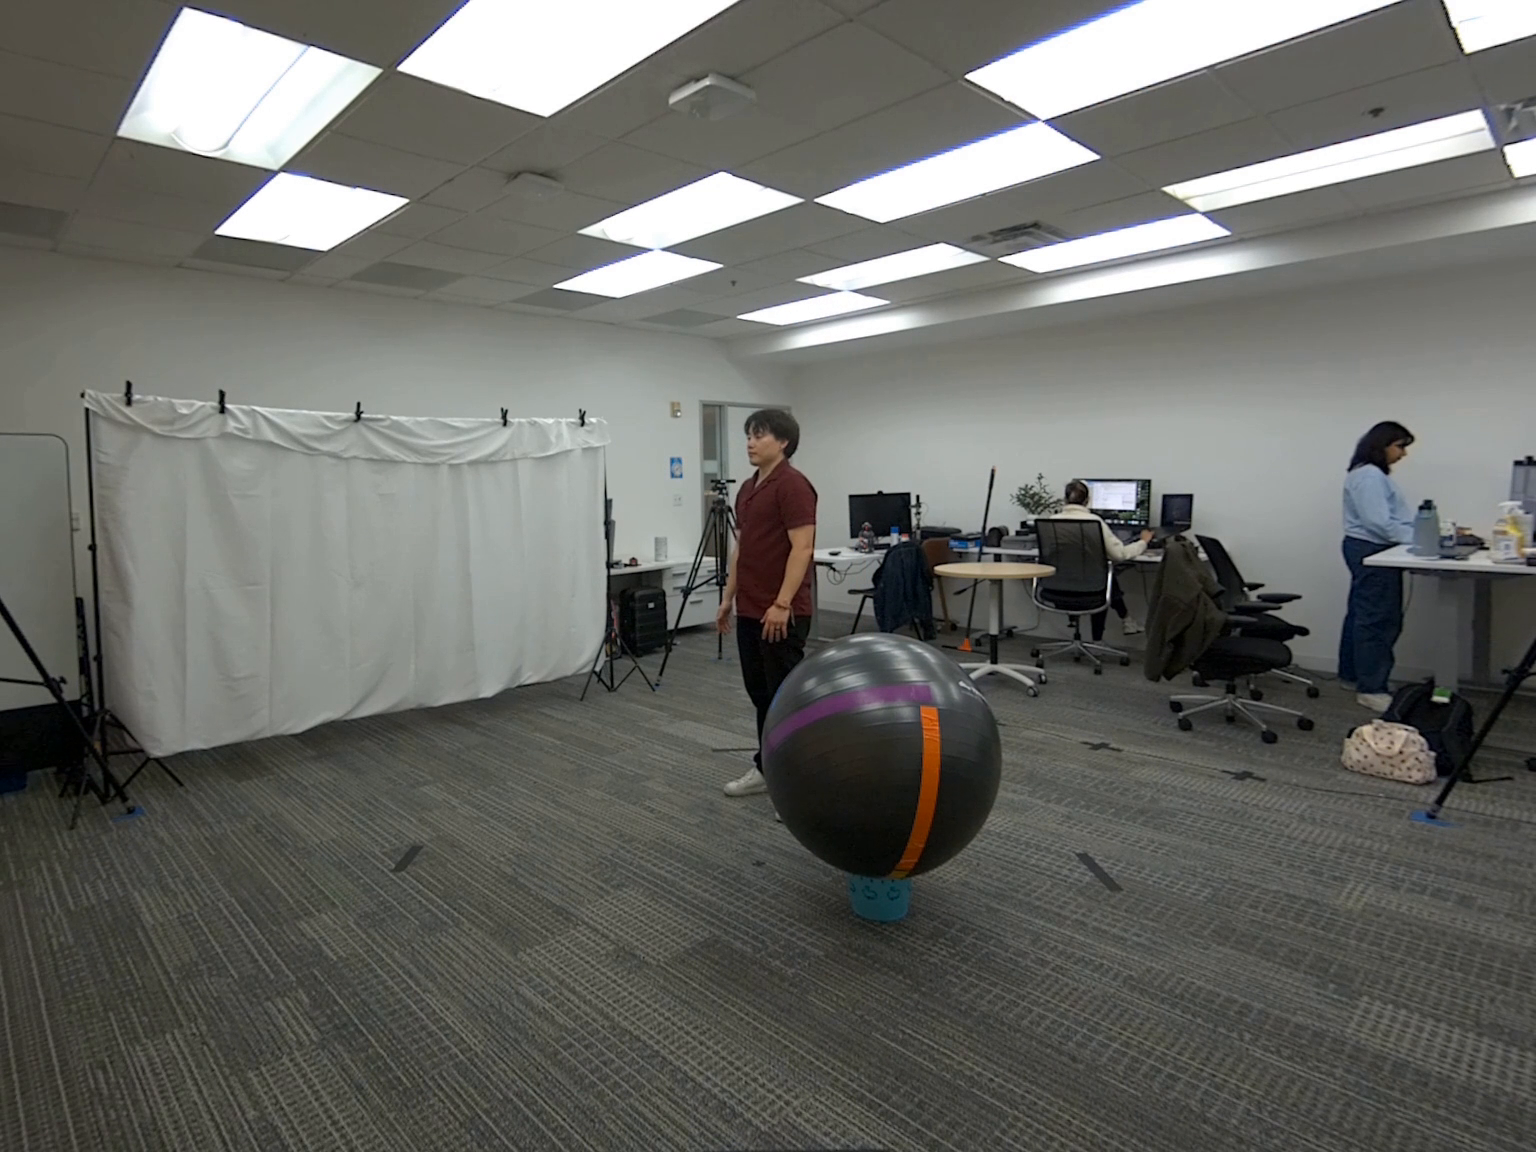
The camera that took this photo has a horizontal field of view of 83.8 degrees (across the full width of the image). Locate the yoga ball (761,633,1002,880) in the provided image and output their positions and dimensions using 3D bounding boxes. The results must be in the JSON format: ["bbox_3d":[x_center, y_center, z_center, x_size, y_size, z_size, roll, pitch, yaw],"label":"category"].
[{"bbox_3d":[0.366,0.575,2.733,0.757,0.755,0.762,-1,5,-2],"label":"yoga ball"}]
